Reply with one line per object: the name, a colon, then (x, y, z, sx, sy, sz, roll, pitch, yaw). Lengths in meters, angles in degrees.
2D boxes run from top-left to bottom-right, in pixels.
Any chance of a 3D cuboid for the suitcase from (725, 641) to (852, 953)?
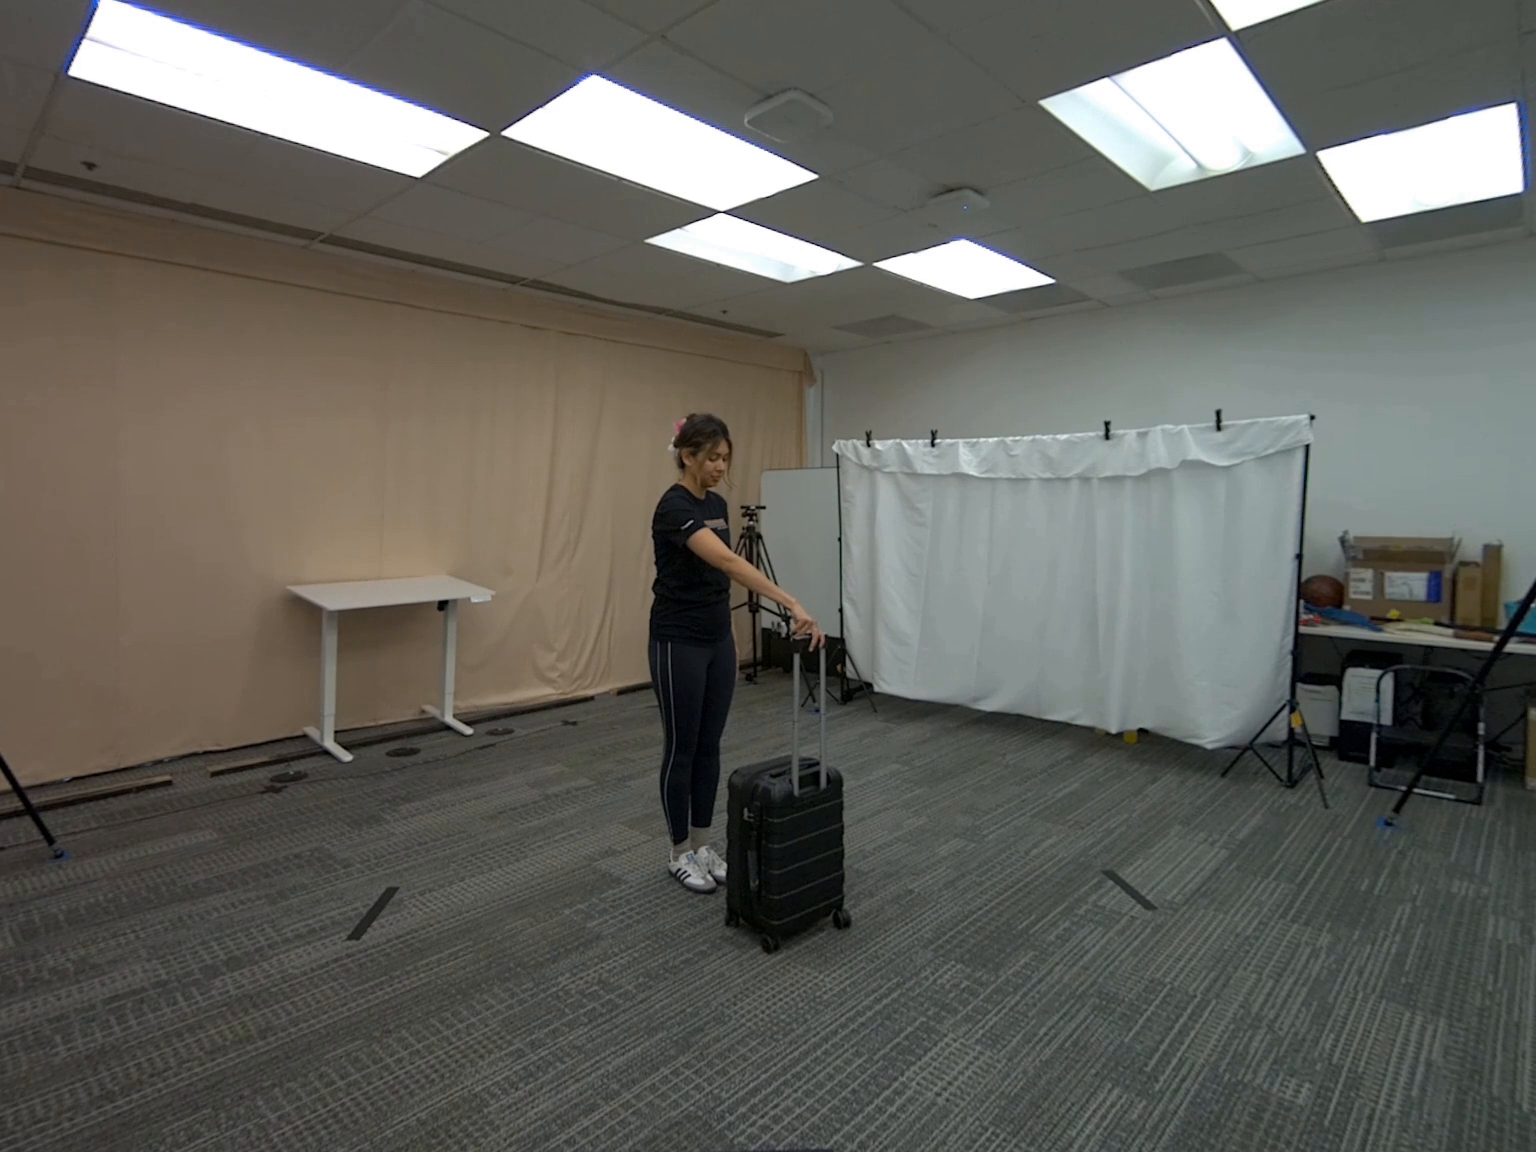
suitcase: (0.062, 0.683, 2.764, 0.372, 0.977, 0.265, -2, 3, -39)
